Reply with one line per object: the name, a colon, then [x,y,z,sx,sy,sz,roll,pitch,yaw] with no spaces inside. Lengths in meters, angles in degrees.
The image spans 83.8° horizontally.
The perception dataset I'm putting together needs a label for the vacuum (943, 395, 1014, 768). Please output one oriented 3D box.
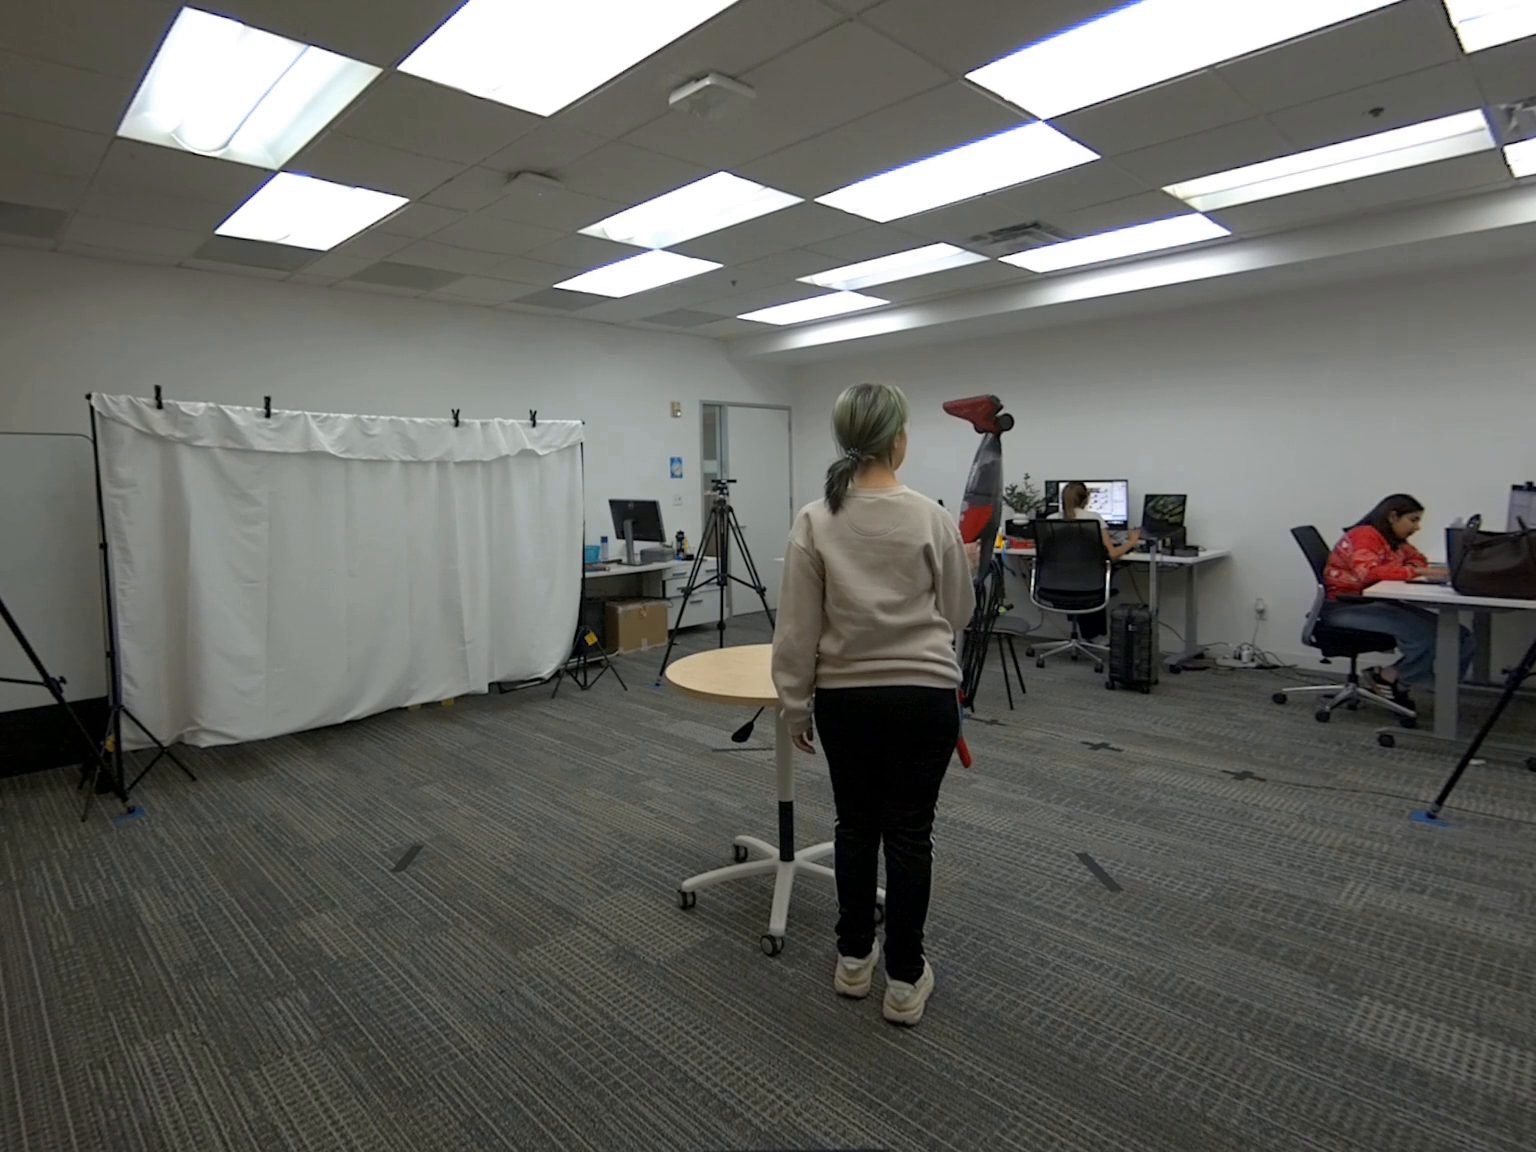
vacuum: [0.625,0.033,2.518,0.142,1.046,0.256,1,4,-13]
